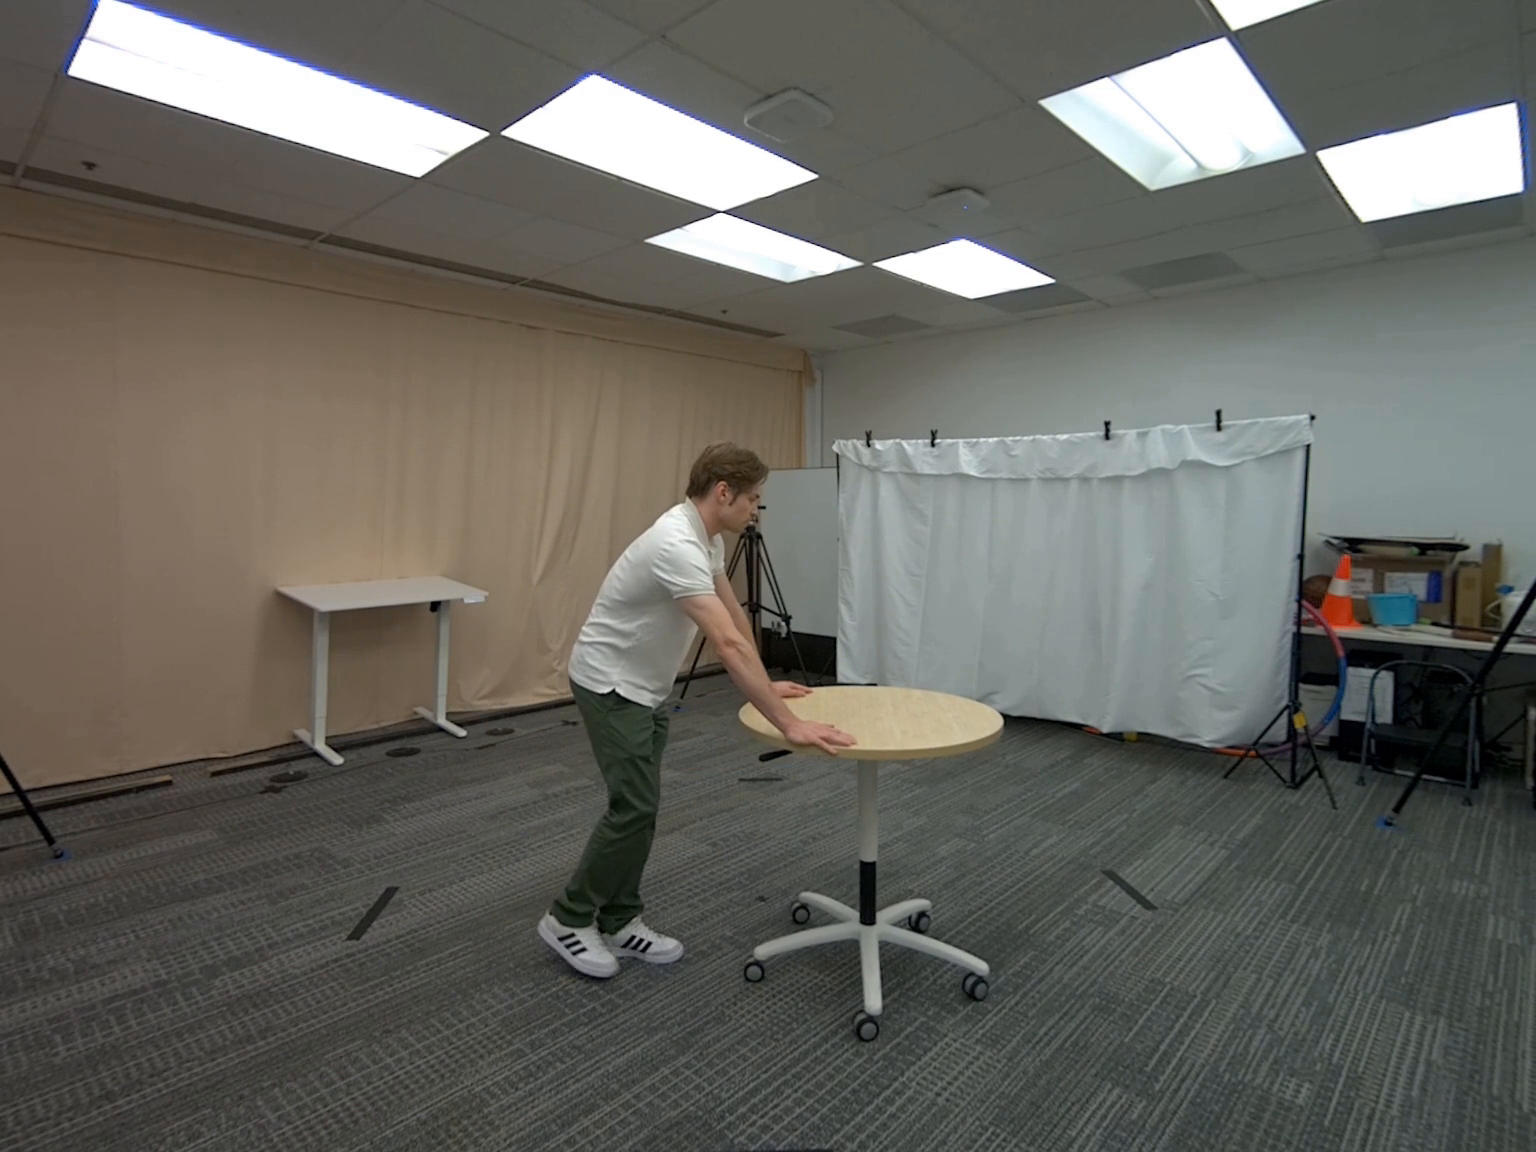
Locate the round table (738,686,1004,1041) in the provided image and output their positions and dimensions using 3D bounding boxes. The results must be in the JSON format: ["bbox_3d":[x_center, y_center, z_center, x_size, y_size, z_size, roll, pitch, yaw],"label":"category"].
[{"bbox_3d":[0.306,0.799,2.514,0.763,0.792,0.767,-1,4,-2],"label":"round table"}]
